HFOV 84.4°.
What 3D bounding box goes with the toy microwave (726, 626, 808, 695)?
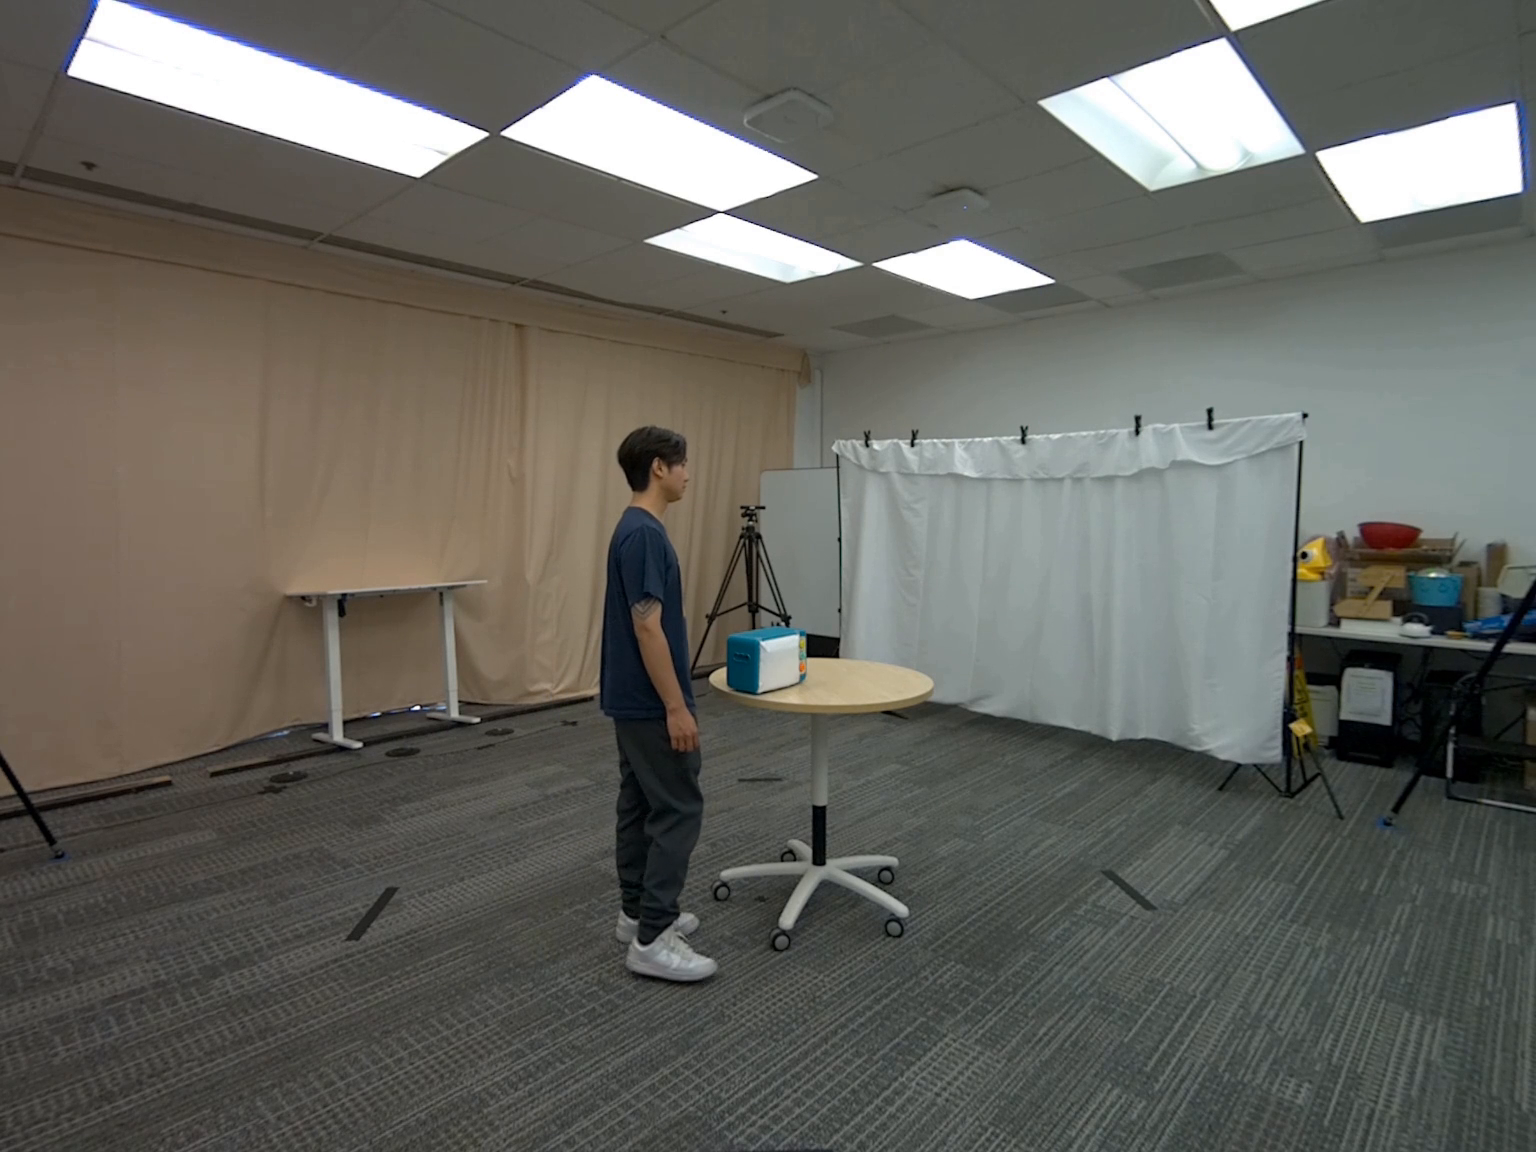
[{"bbox_3d":[0.011,0.276,2.765,0.157,0.184,0.277,3,5,40],"label":"toy microwave"}]
